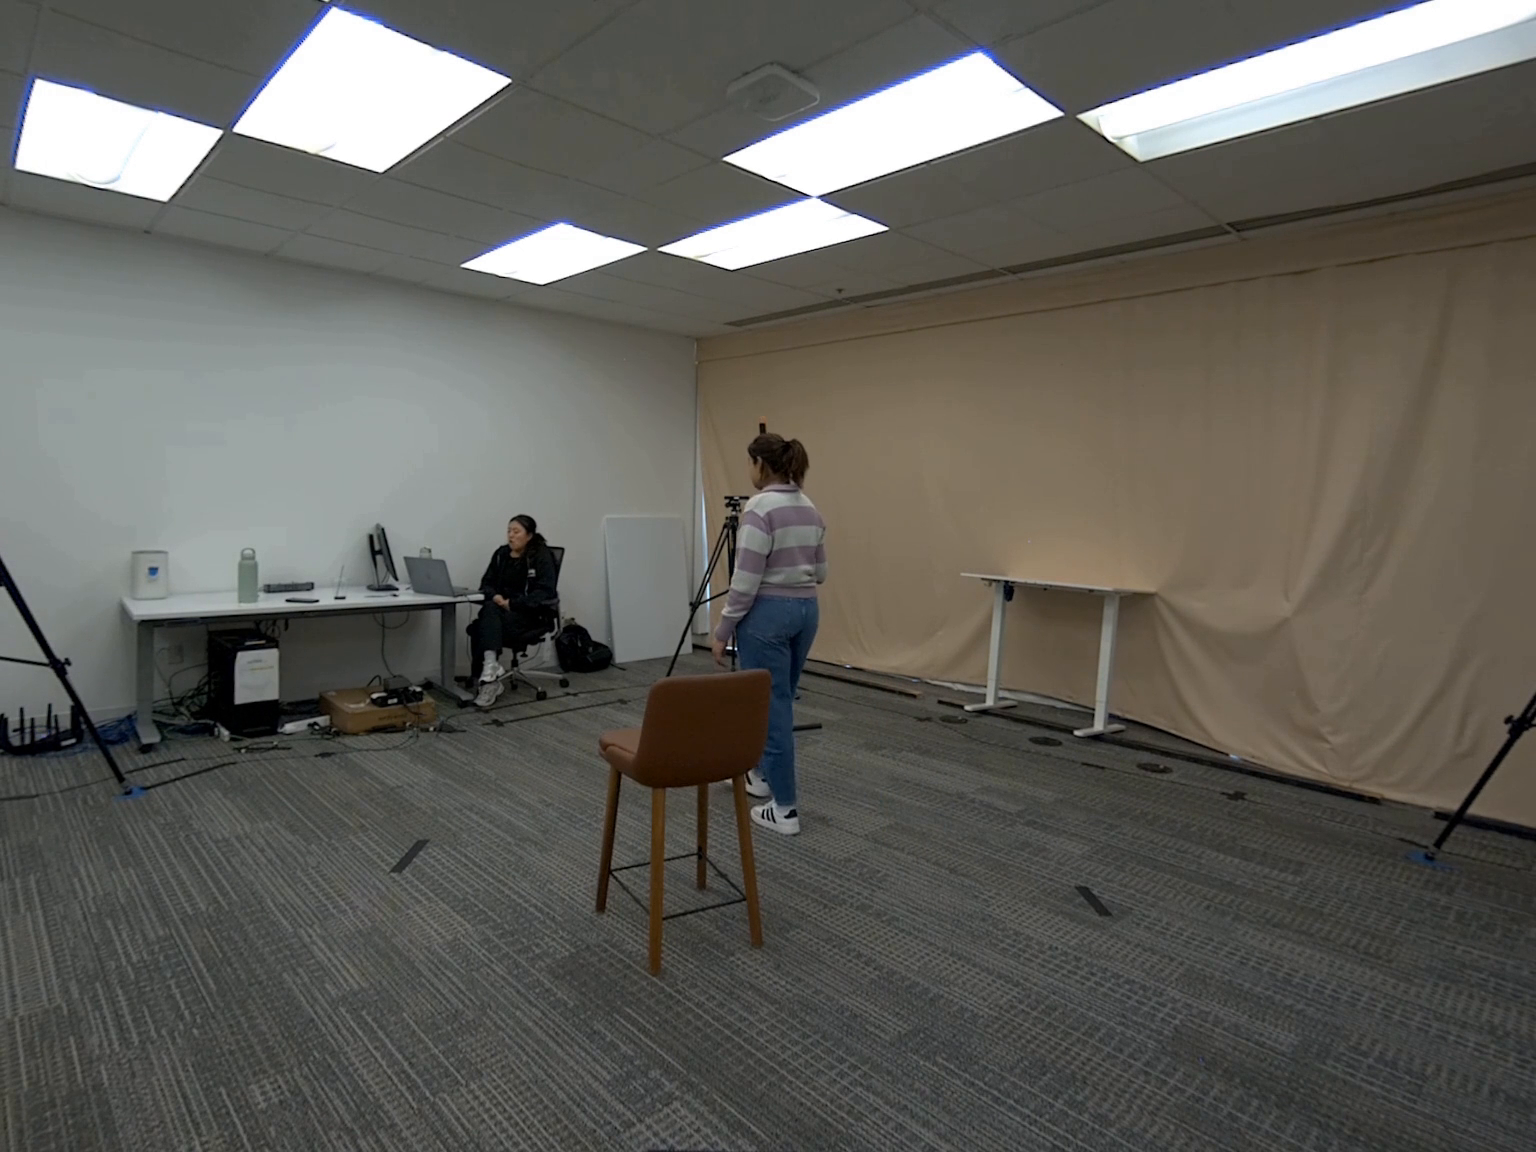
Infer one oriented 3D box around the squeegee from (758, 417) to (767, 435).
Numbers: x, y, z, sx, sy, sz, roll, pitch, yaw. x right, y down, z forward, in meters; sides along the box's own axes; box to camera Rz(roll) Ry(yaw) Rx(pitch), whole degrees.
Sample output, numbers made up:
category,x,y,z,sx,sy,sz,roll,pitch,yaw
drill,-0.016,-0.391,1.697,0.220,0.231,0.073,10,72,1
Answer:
category,x,y,z,sx,sy,sz,roll,pitch,yaw
squeegee,0.010,0.044,3.974,0.436,1.525,0.053,-2,10,-3
